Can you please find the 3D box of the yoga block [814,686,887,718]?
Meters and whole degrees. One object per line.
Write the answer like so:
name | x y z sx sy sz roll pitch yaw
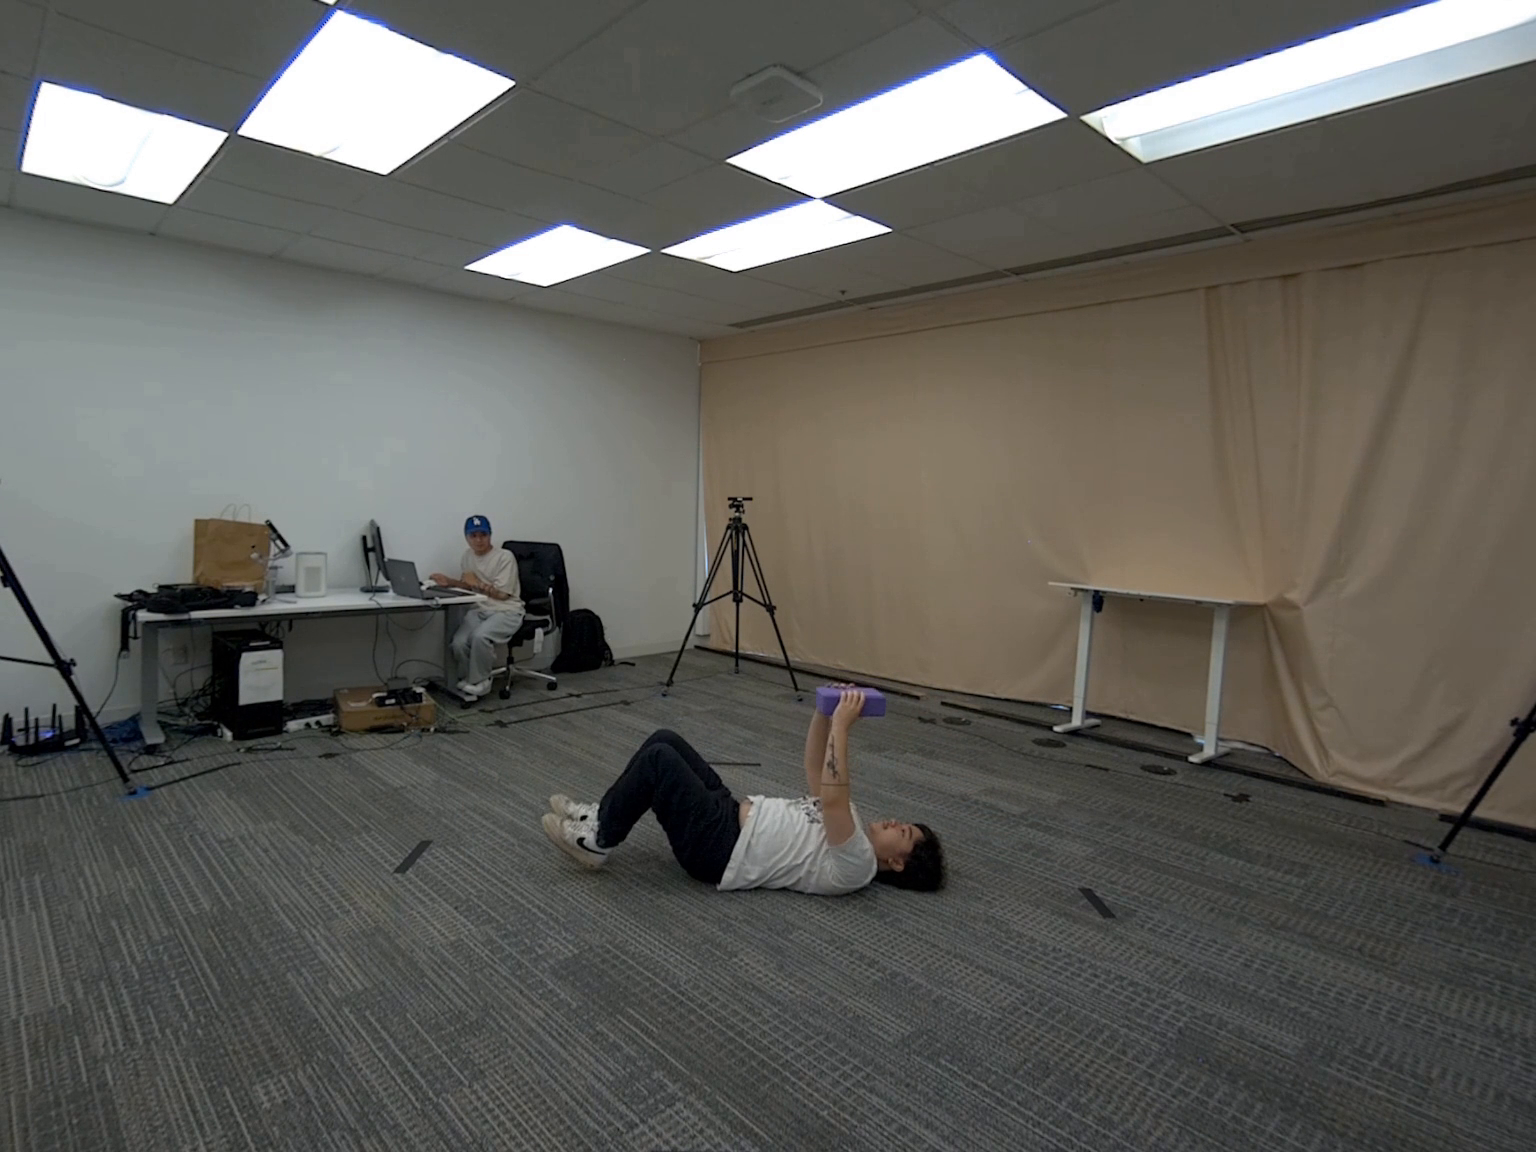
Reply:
yoga block | 0.290 0.459 3.047 0.228 0.076 0.150 1 3 -5
